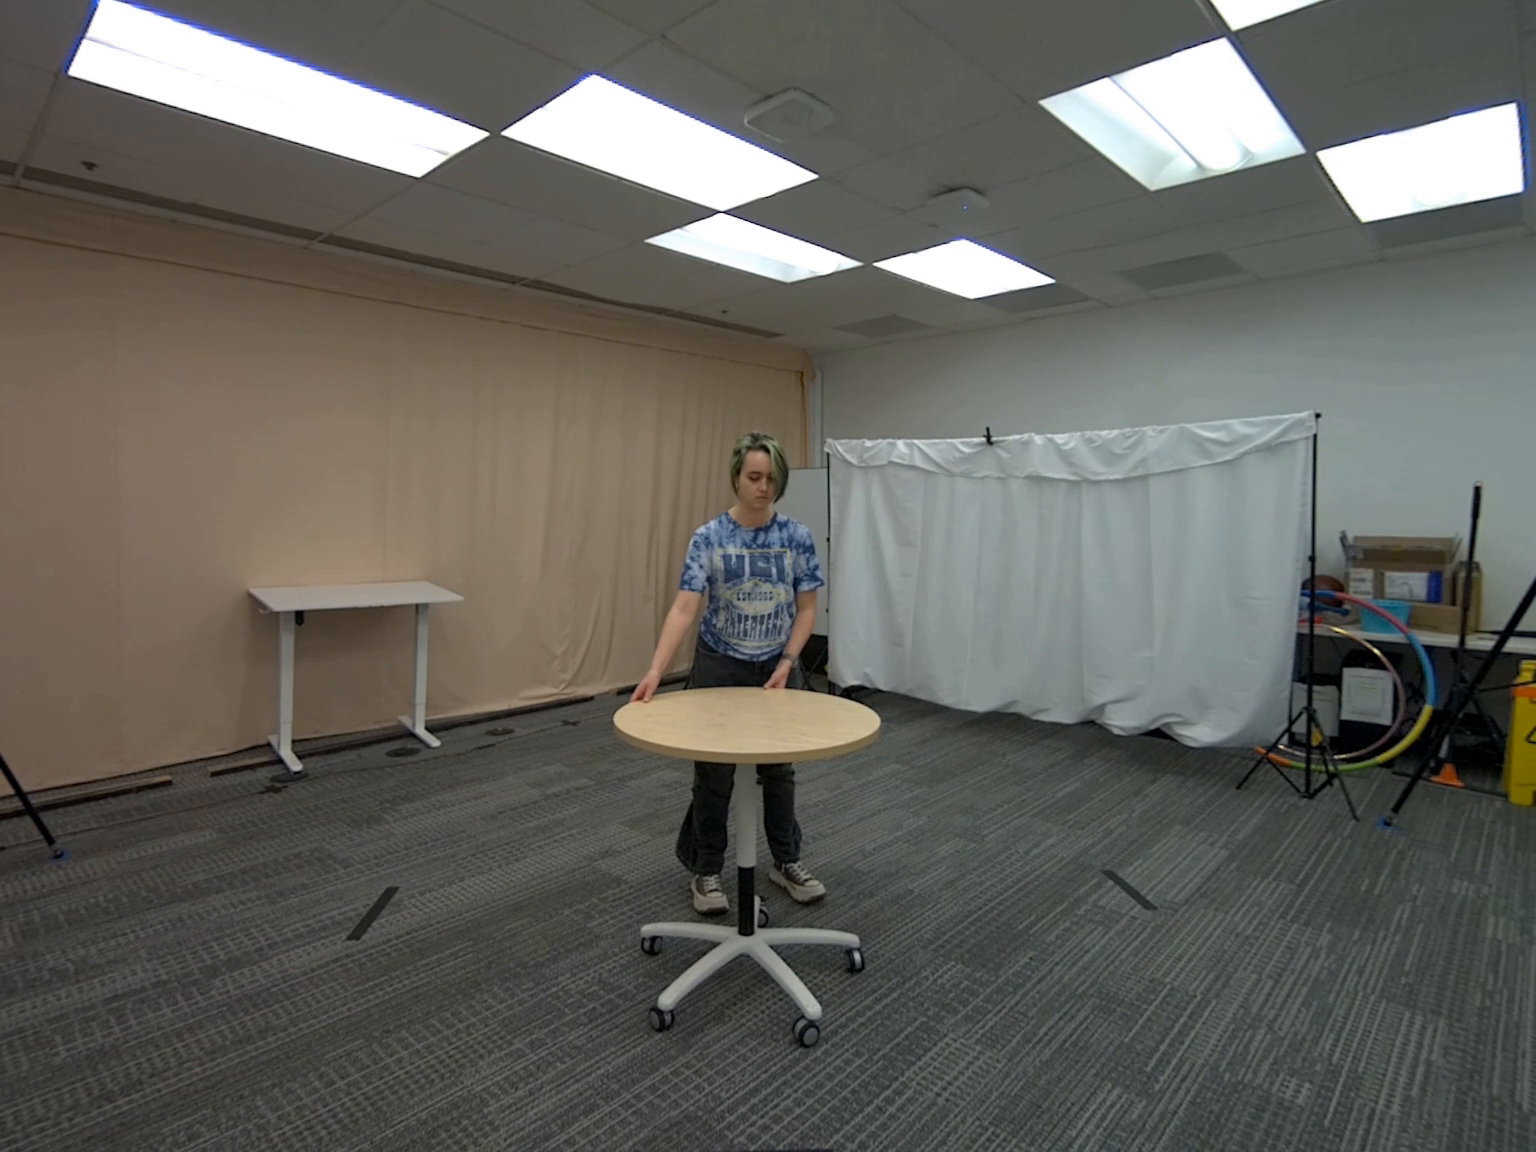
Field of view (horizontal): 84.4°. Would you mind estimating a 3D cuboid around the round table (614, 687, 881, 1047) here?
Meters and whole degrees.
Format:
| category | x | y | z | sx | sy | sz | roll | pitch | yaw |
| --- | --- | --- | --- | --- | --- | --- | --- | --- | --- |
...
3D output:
| category | x | y | z | sx | sy | sz | roll | pitch | yaw |
| --- | --- | --- | --- | --- | --- | --- | --- | --- | --- |
| round table | -0.062 | 0.800 | 2.461 | 0.763 | 0.792 | 0.767 | -1 | 4 | -2 |
